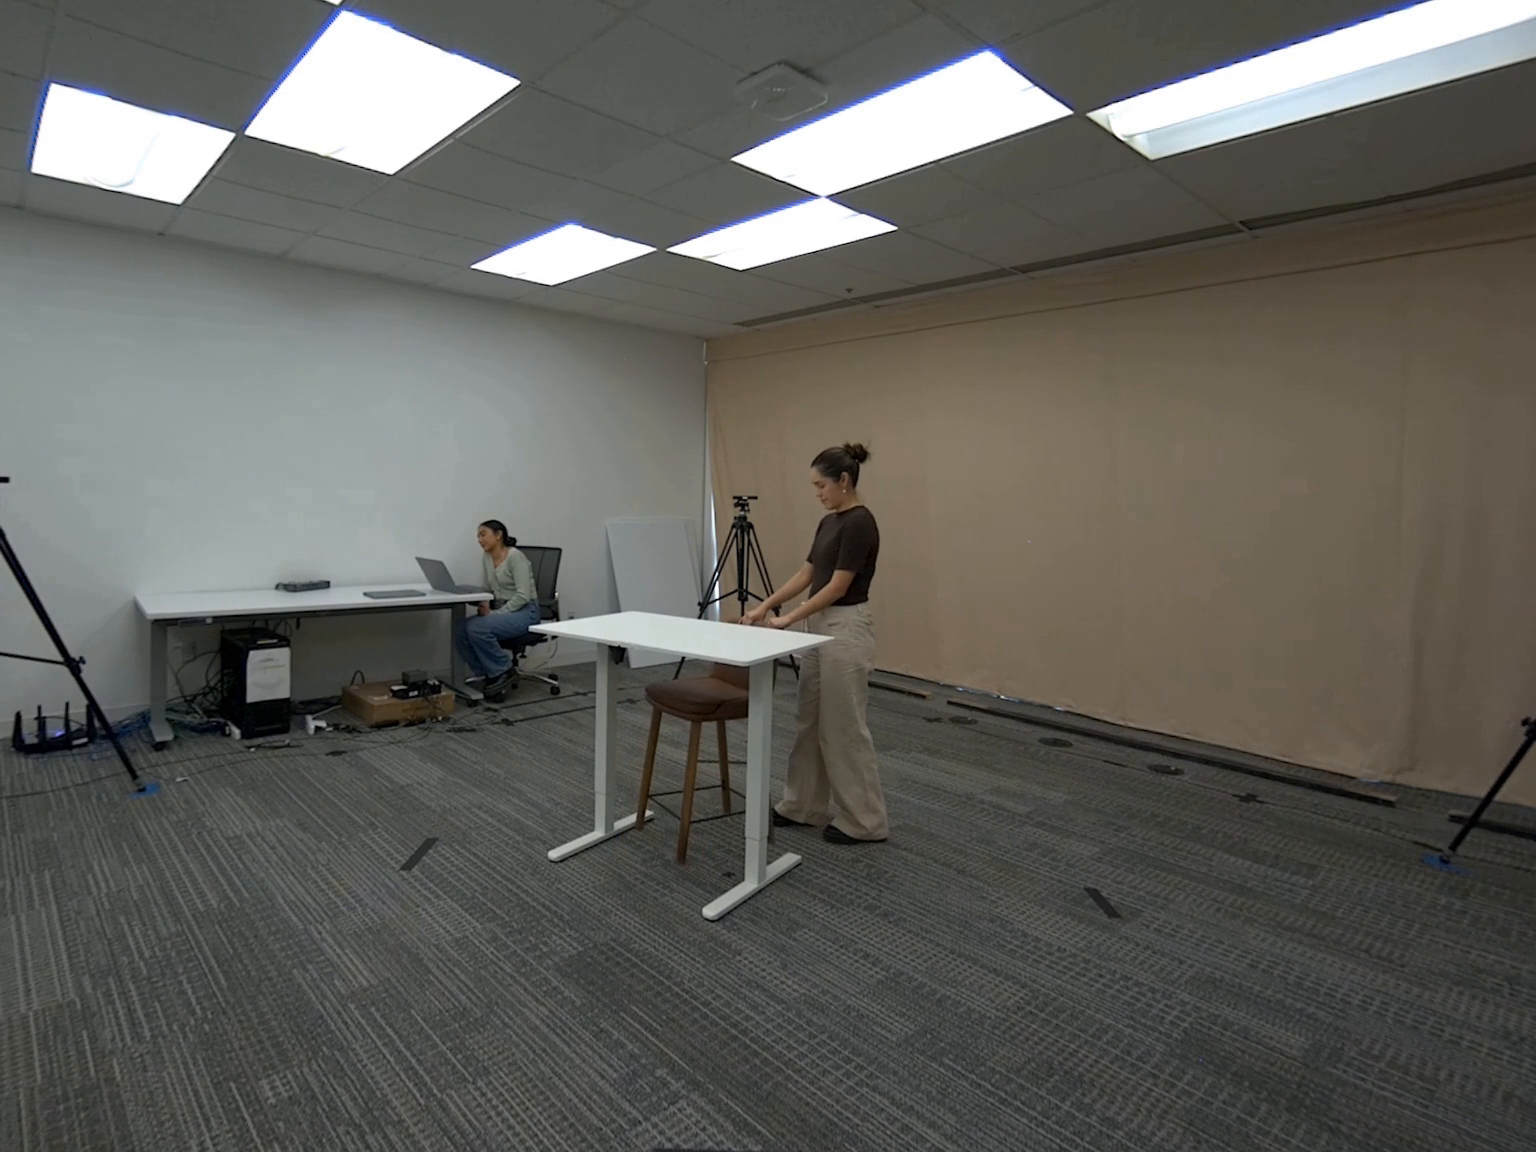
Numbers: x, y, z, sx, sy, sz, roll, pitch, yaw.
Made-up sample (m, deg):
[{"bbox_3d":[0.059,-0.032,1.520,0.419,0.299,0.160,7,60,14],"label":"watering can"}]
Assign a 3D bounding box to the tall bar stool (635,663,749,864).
[{"bbox_3d":[-0.240,0.632,3.439,0.457,0.888,0.467,1,2,-32],"label":"tall bar stool"}]
